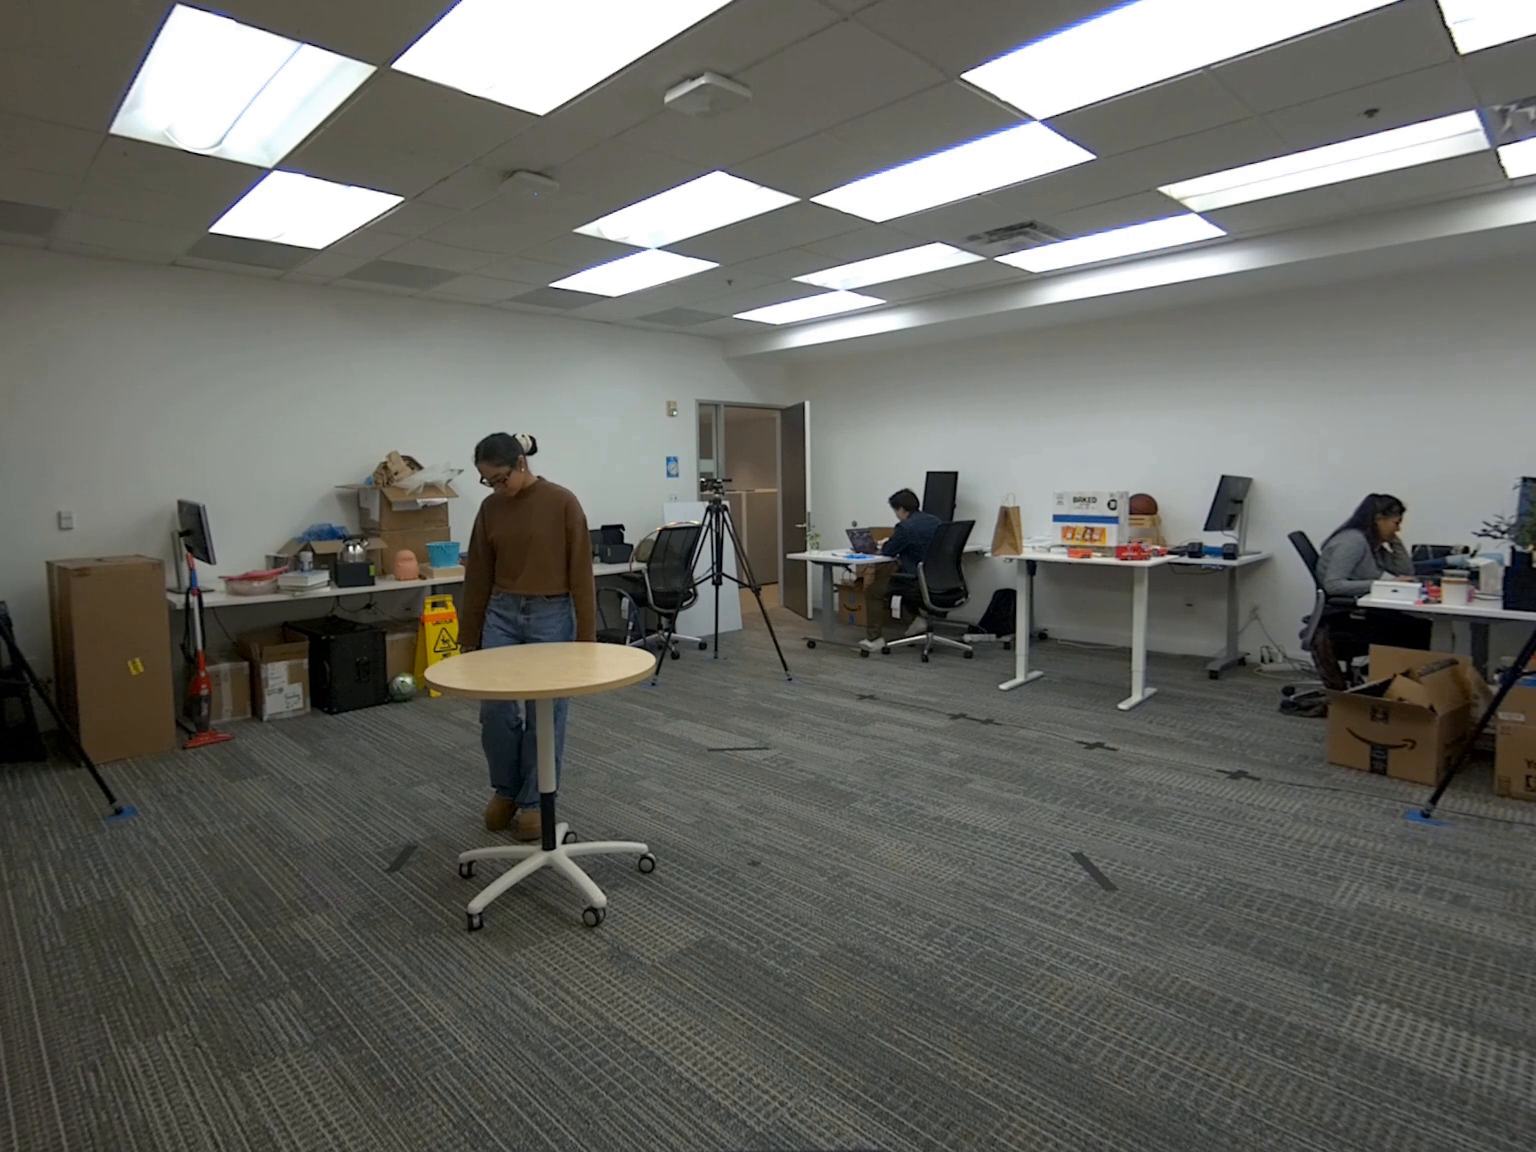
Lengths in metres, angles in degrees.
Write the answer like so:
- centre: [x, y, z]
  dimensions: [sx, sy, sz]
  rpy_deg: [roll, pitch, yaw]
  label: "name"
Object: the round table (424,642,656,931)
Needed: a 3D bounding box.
- centre: [-0.748, 0.689, 2.928]
  dimensions: [0.763, 0.791, 0.768]
  rpy_deg: [-1, 5, -2]
  label: "round table"
